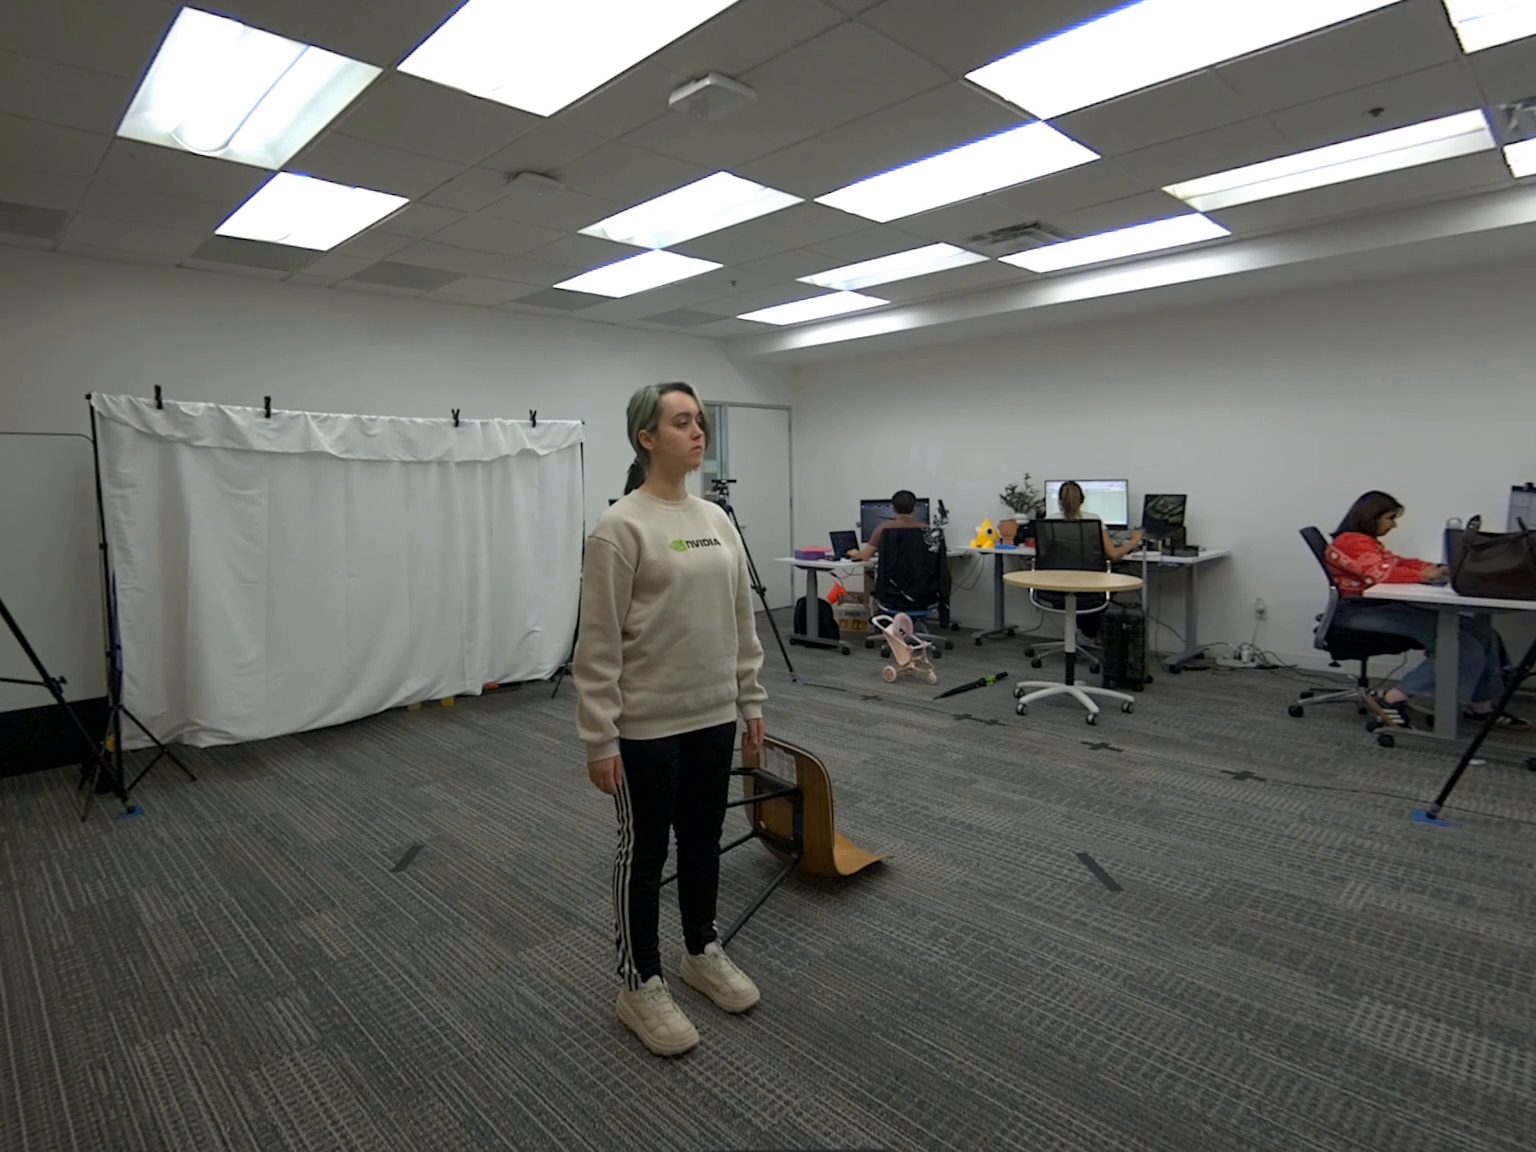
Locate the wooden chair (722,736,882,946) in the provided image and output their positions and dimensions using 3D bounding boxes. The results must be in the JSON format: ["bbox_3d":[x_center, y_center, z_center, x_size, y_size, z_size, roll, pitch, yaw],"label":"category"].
[{"bbox_3d":[0.028,0.811,2.917,0.854,0.521,0.492,-4,6,-36],"label":"wooden chair"}]
